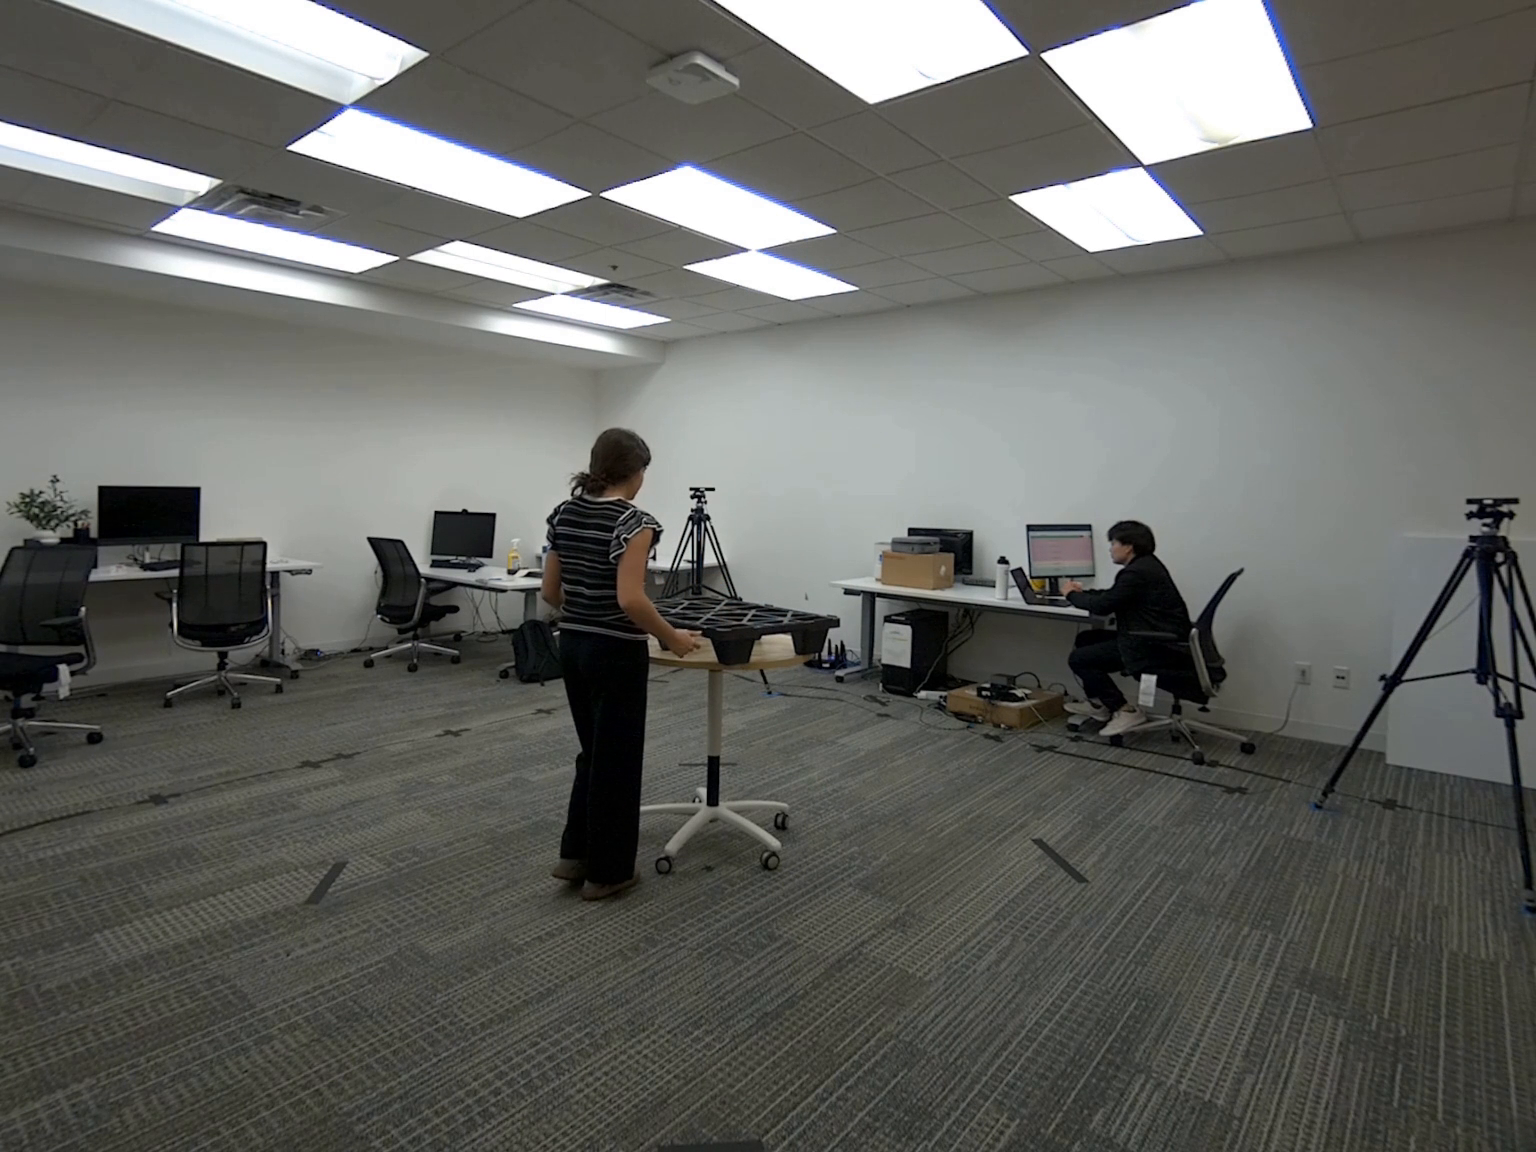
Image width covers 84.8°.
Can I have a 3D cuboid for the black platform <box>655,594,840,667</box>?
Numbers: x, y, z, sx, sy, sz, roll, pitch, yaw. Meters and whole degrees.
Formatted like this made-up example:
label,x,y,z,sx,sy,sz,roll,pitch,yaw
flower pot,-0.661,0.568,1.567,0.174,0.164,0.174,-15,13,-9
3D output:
label,x,y,z,sx,sy,sz,roll,pitch,yaw
black platform,-0.227,0.198,3.316,0.587,0.143,0.833,-3,7,-41
